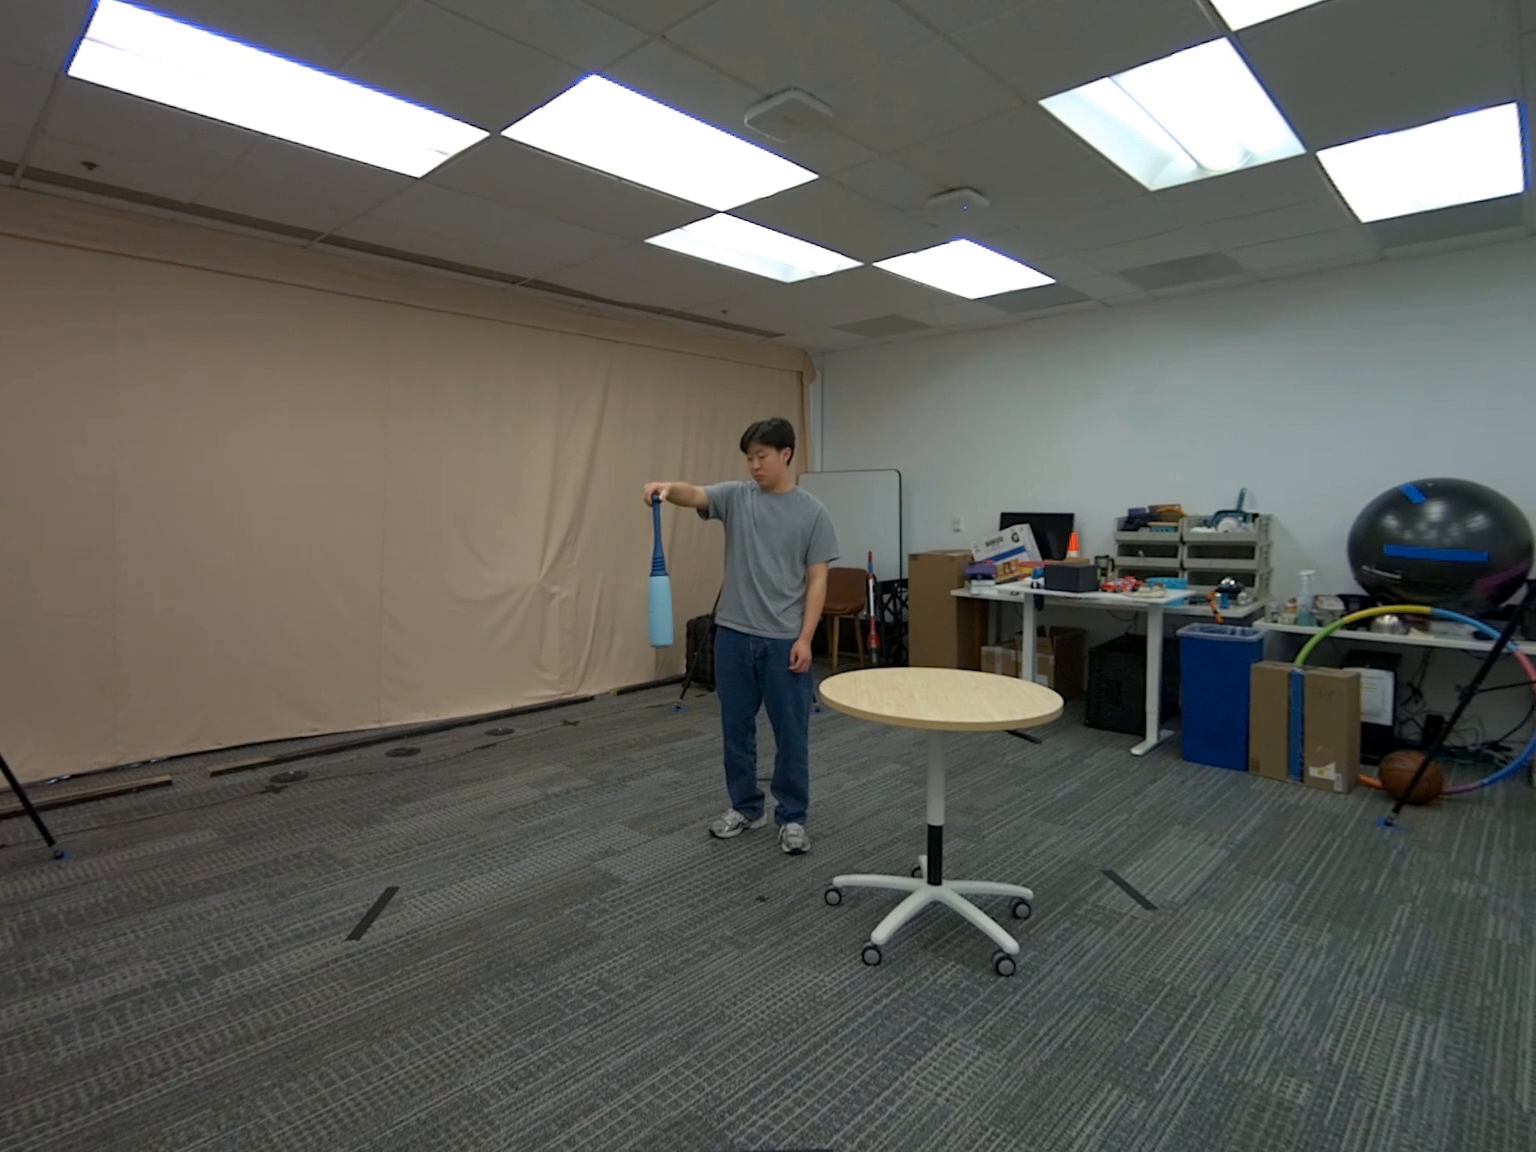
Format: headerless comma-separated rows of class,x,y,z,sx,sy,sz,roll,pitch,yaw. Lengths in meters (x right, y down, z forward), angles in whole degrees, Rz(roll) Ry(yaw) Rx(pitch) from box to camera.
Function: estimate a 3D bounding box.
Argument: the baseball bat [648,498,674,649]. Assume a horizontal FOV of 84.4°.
baseball bat,-0.399,-0.012,3.017,0.089,0.545,0.089,-5,-6,-2
